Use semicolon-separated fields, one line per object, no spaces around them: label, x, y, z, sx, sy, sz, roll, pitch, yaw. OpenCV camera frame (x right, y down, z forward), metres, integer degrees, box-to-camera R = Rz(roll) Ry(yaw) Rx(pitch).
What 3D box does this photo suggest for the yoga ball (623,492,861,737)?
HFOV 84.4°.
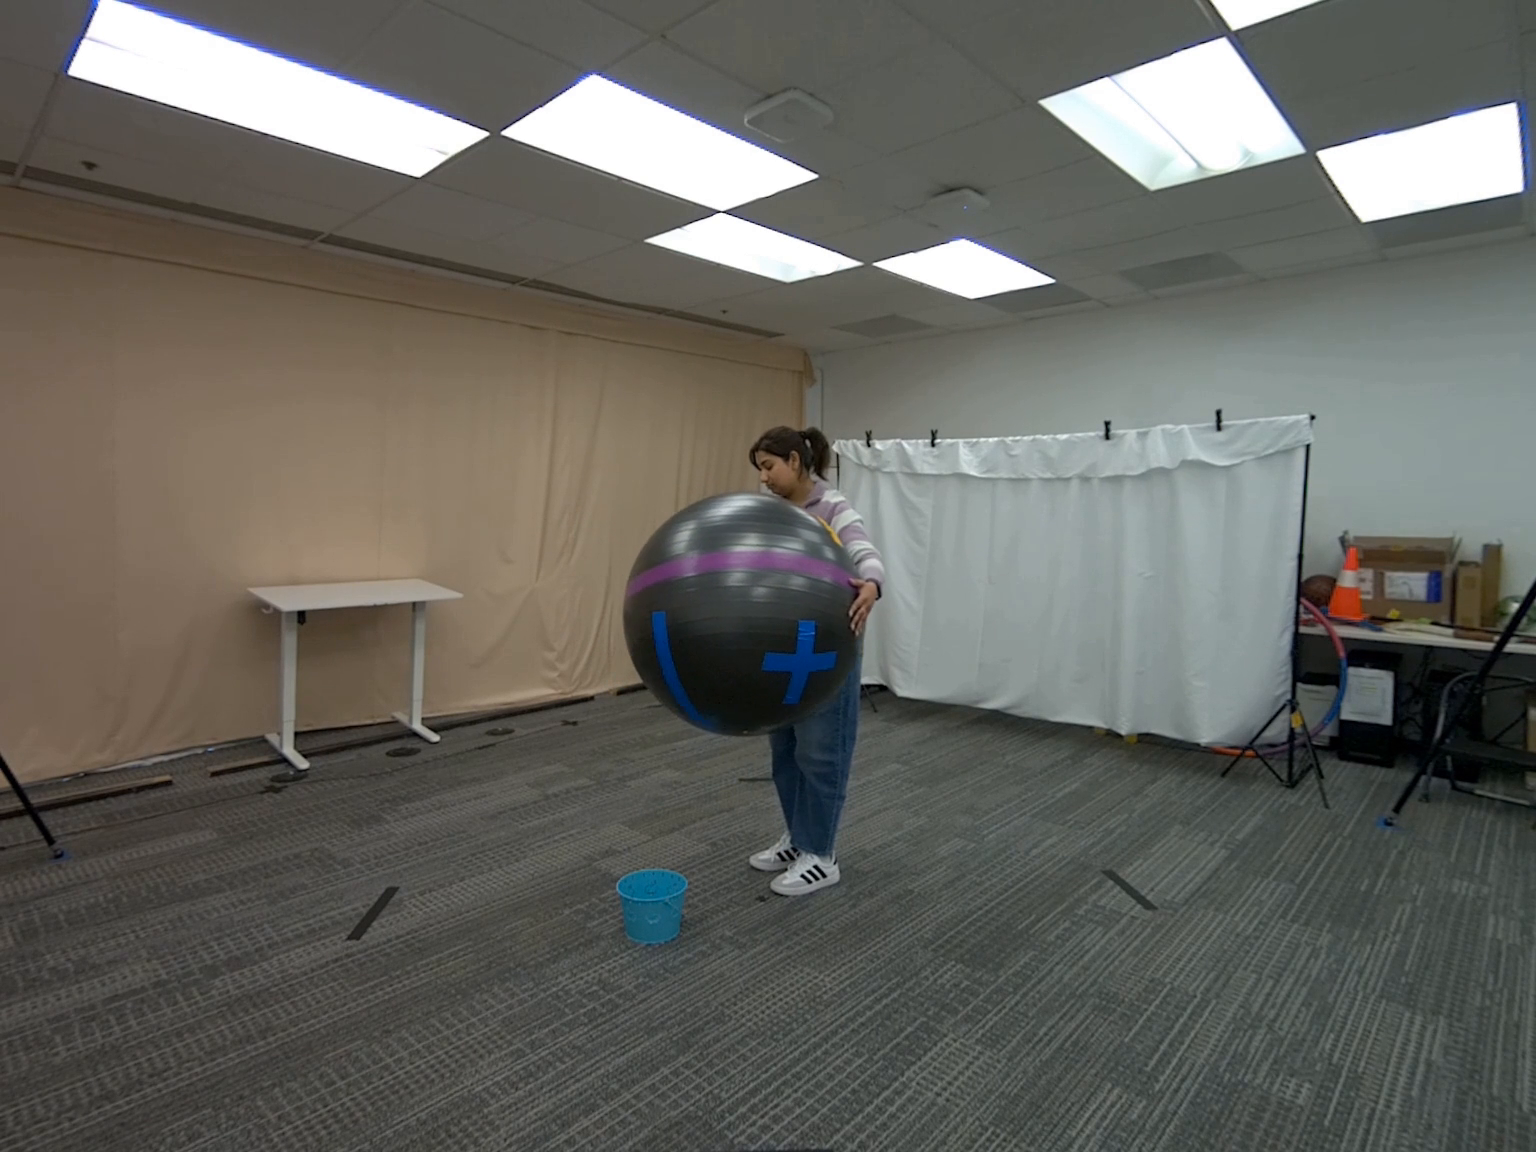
yoga ball;-0.086;0.119;2.643;0.757;0.756;0.761;0;4;-2
